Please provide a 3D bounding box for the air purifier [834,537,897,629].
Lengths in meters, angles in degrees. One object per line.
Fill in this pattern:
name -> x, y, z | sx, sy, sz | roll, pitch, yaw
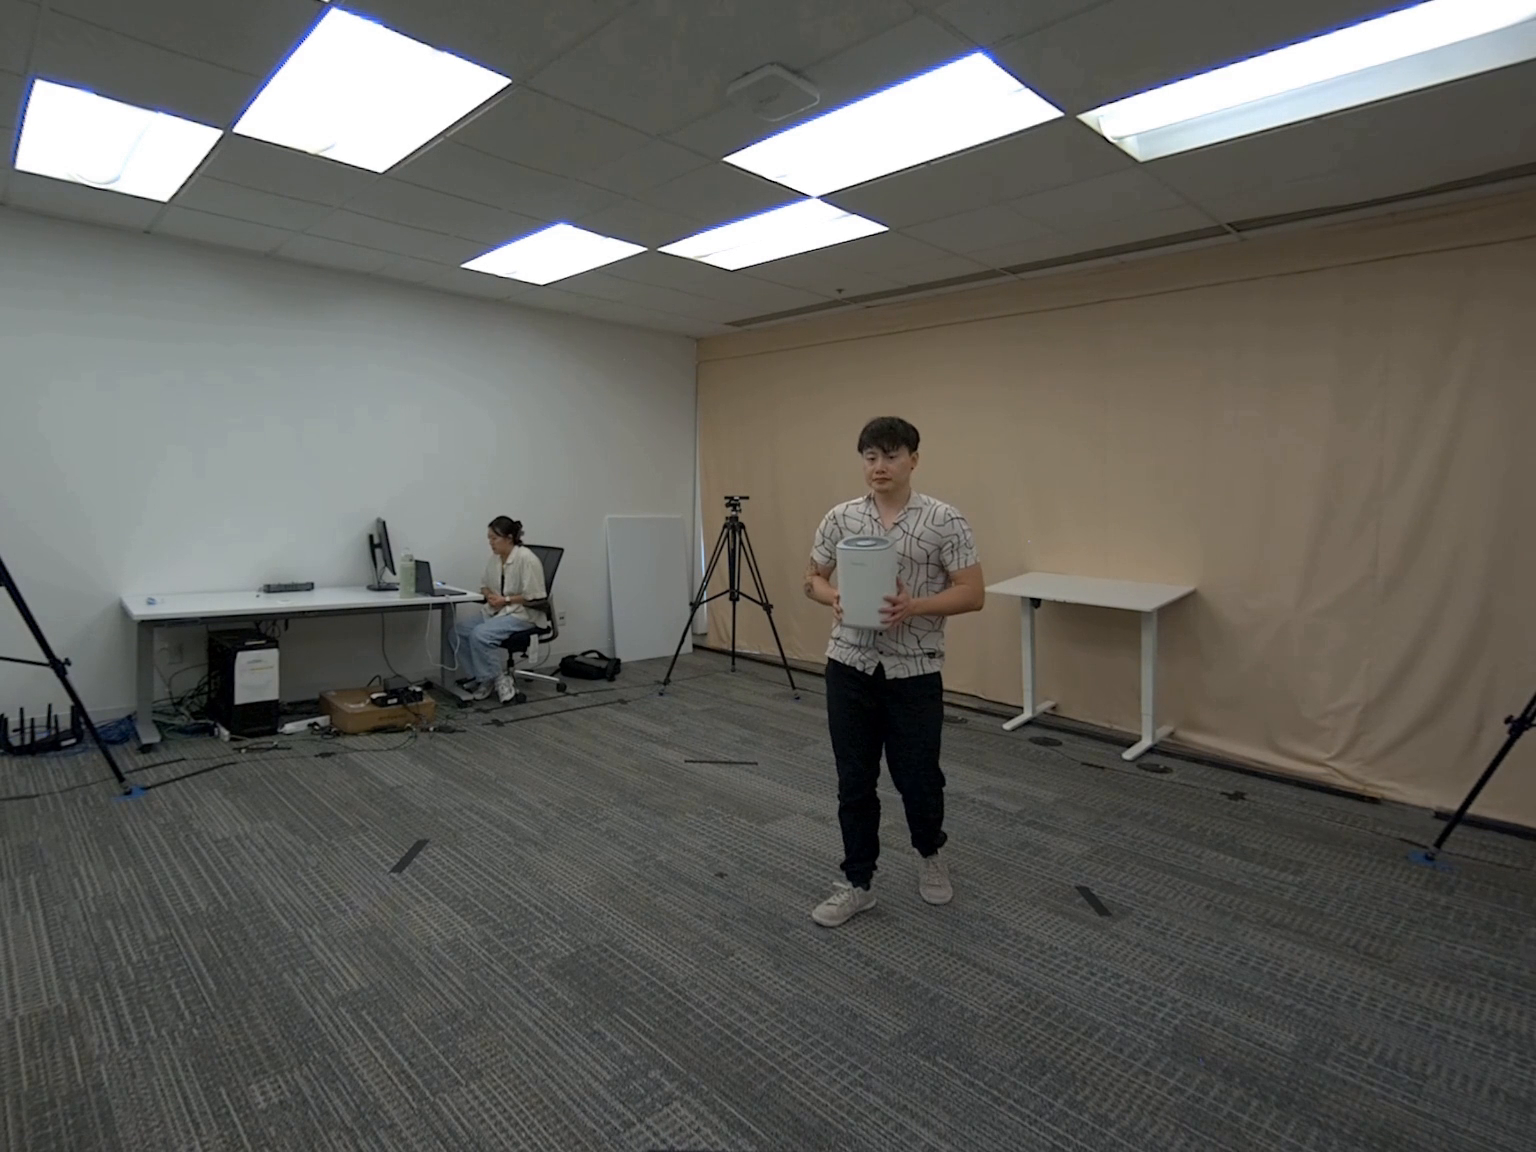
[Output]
air purifier -> 0.314, 0.032, 2.618 | 0.173, 0.262, 0.171 | -9, 14, 14
